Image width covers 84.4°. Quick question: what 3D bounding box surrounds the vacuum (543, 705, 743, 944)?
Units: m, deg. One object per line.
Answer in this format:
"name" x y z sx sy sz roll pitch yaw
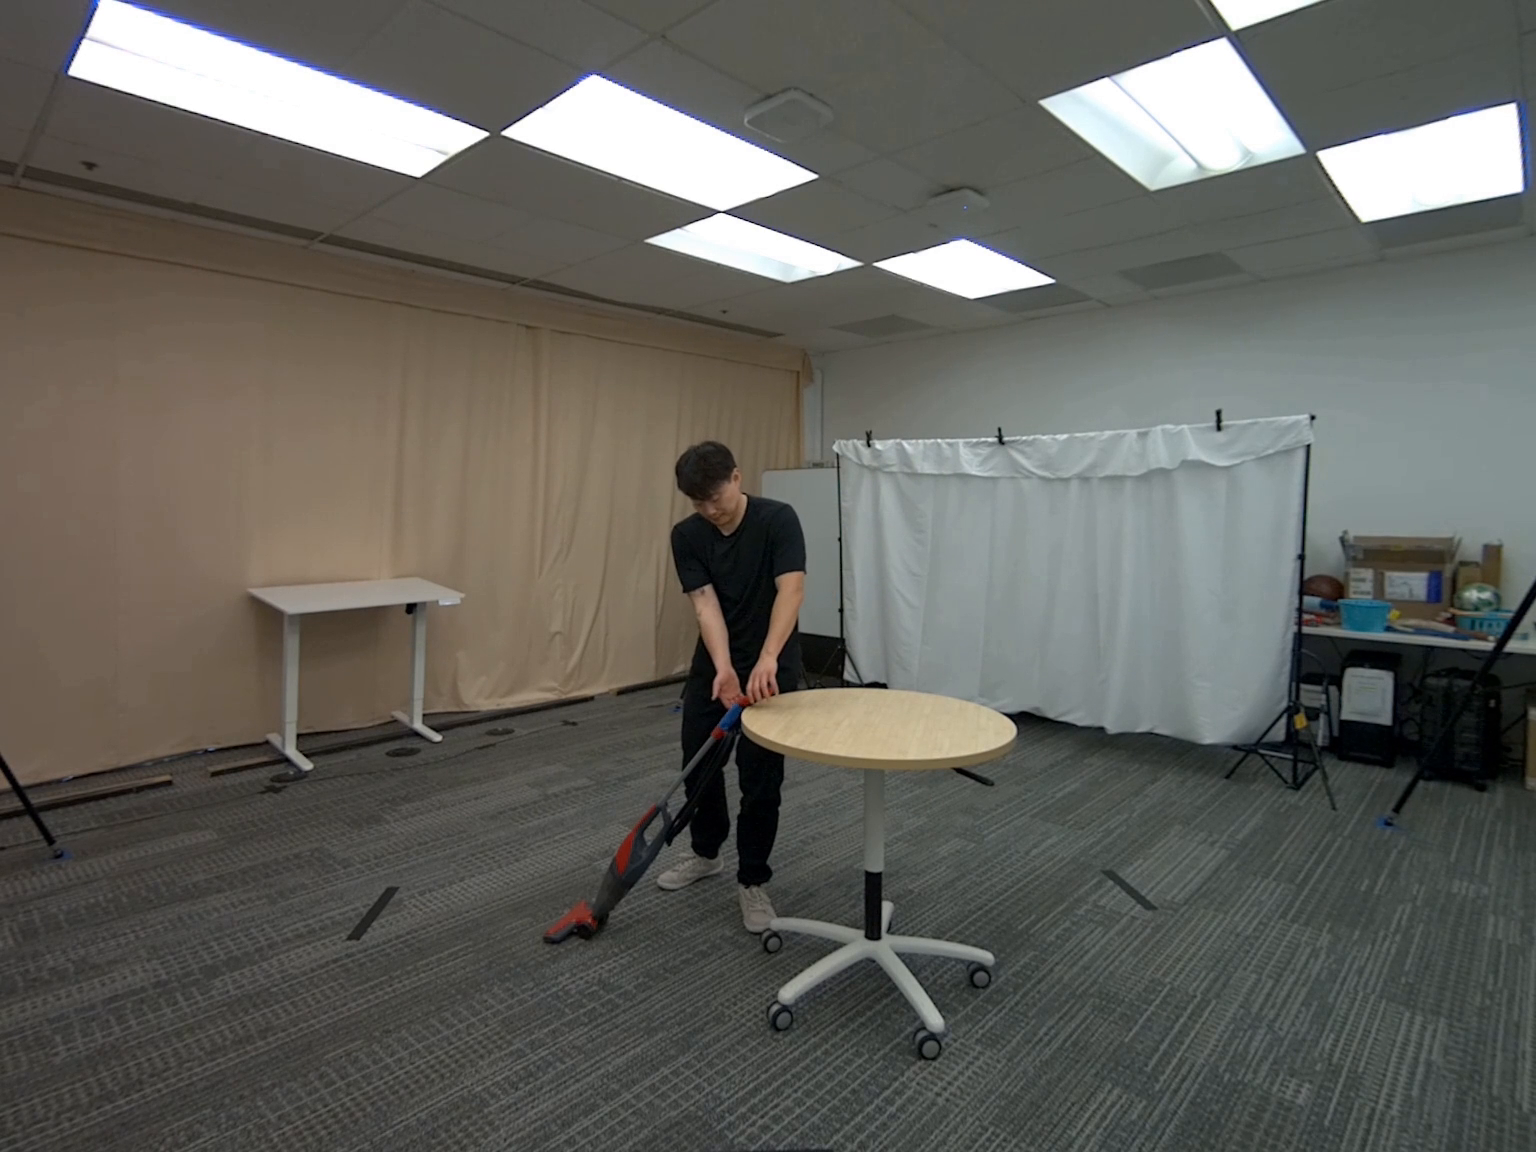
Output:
"vacuum" -0.325 0.753 2.650 0.146 1.051 0.249 39 16 9
